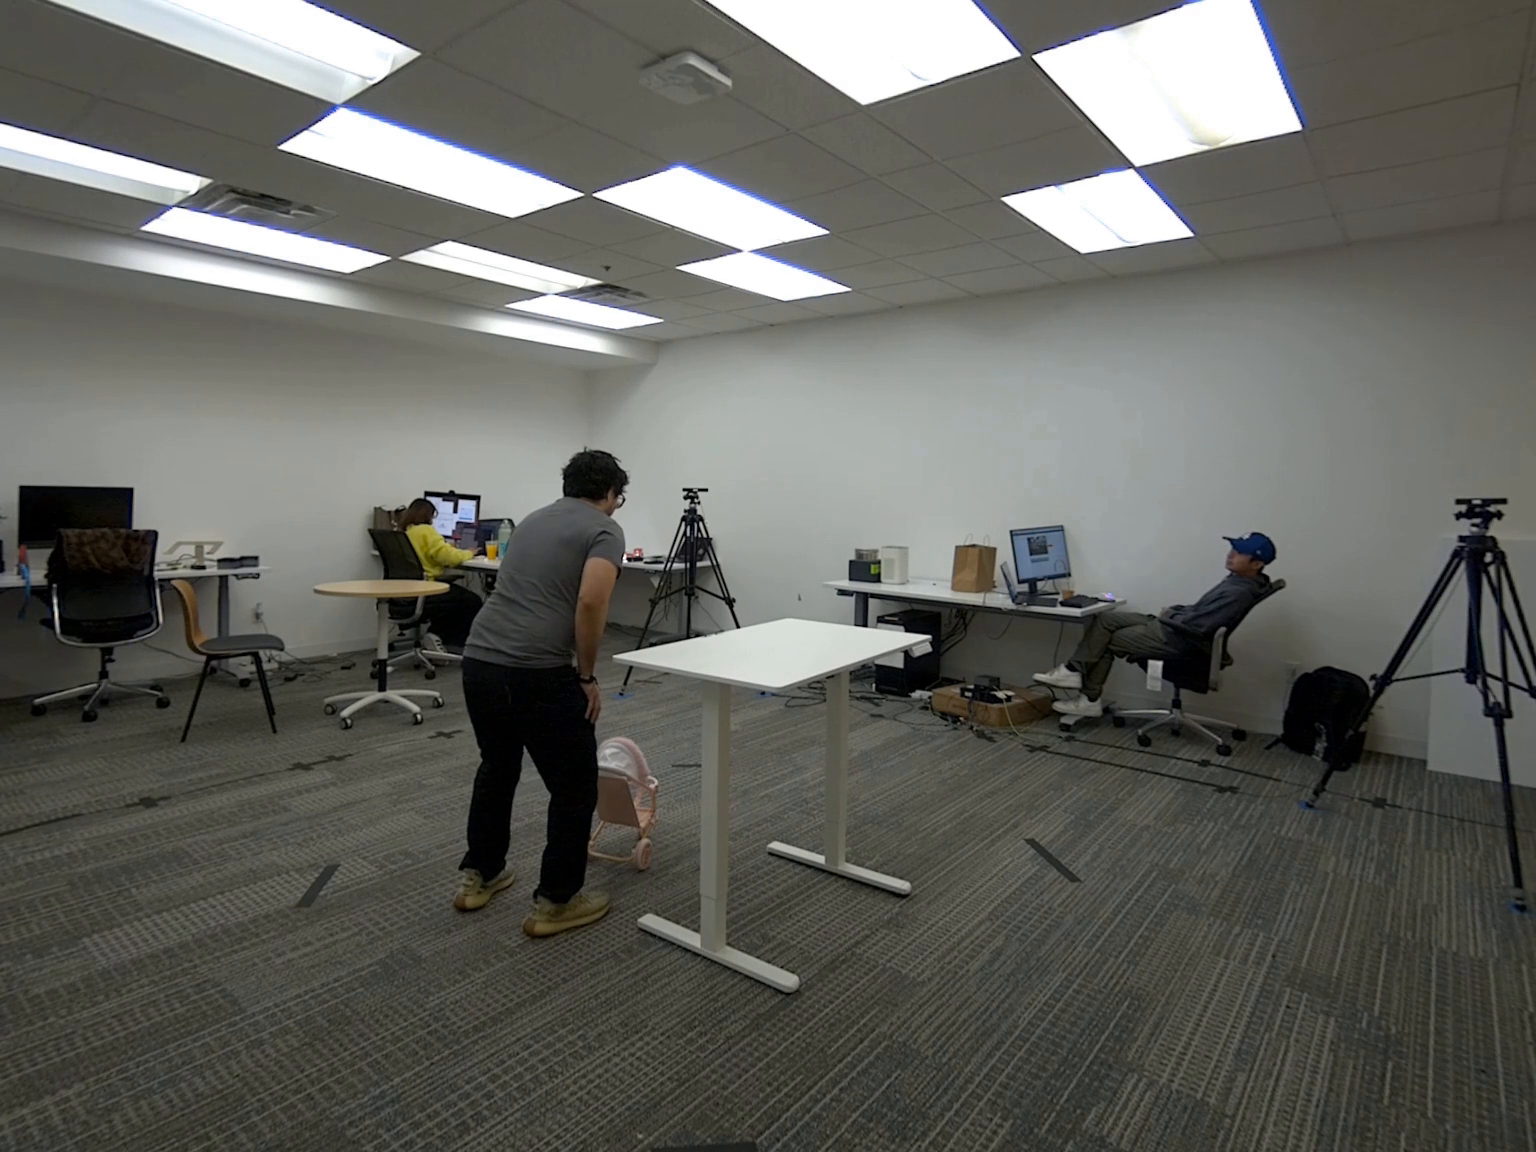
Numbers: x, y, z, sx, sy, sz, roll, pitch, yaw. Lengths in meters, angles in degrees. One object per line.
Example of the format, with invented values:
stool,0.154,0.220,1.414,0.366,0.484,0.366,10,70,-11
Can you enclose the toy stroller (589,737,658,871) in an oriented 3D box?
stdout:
toy stroller,-0.559,0.833,3.193,0.288,0.525,0.339,4,21,22
